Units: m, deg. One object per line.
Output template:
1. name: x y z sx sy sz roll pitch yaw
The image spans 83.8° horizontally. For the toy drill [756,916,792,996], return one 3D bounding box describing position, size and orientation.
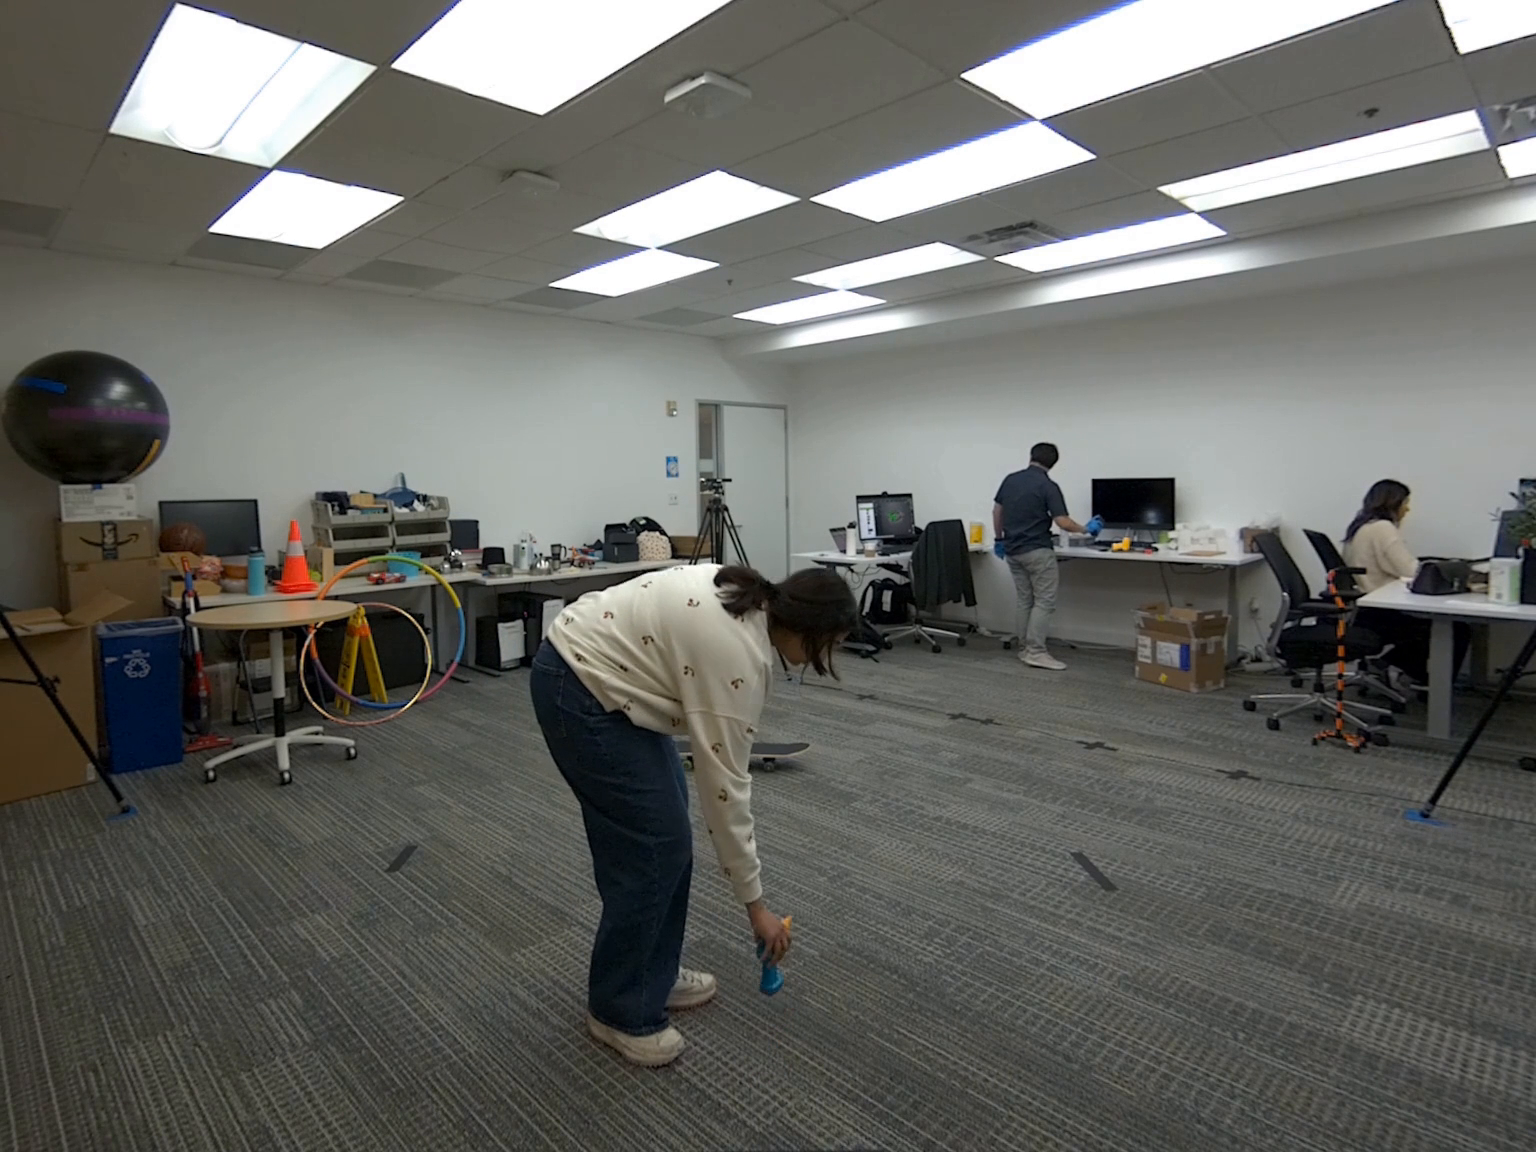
1. toy drill: 0.021 0.930 2.119 0.063 0.144 0.168 5 17 27
